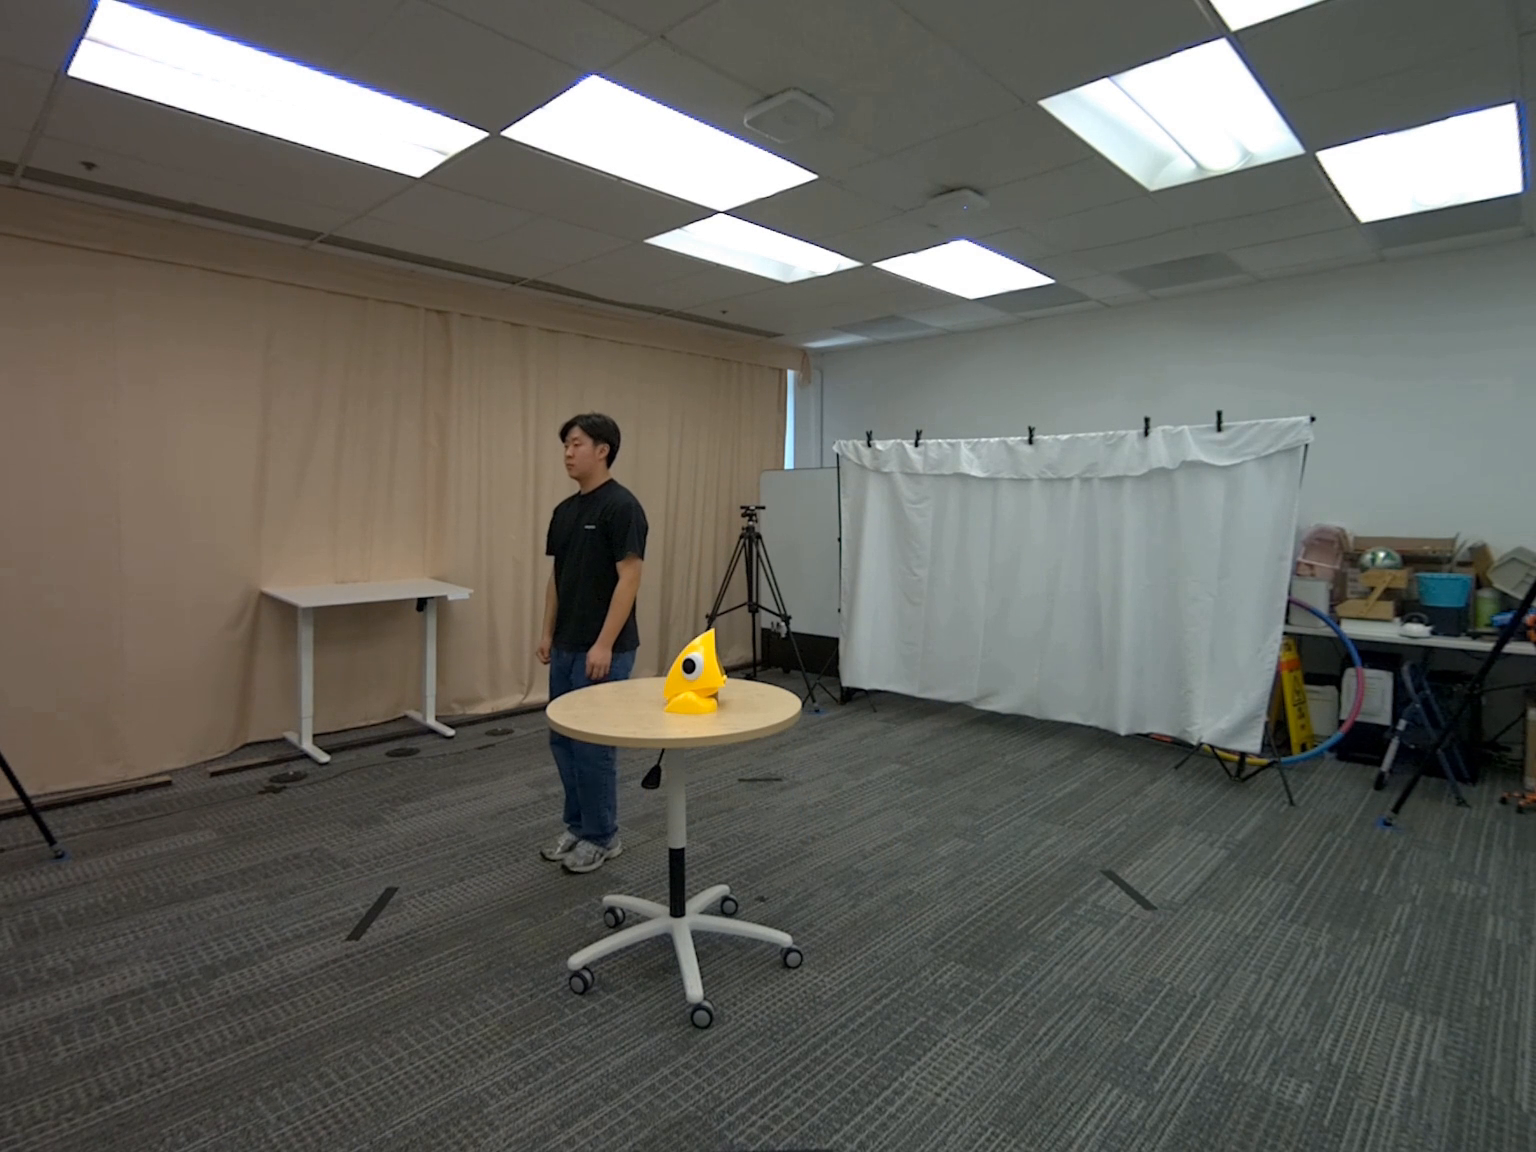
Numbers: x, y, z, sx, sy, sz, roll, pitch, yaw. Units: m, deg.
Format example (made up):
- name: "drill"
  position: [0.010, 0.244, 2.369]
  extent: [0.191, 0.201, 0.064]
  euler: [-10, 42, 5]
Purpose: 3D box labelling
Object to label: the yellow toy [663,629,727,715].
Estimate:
- name: "yellow toy"
  position: [-0.219, 0.272, 2.511]
  extent: [0.193, 0.230, 0.205]
  euler: [1, 3, -2]
